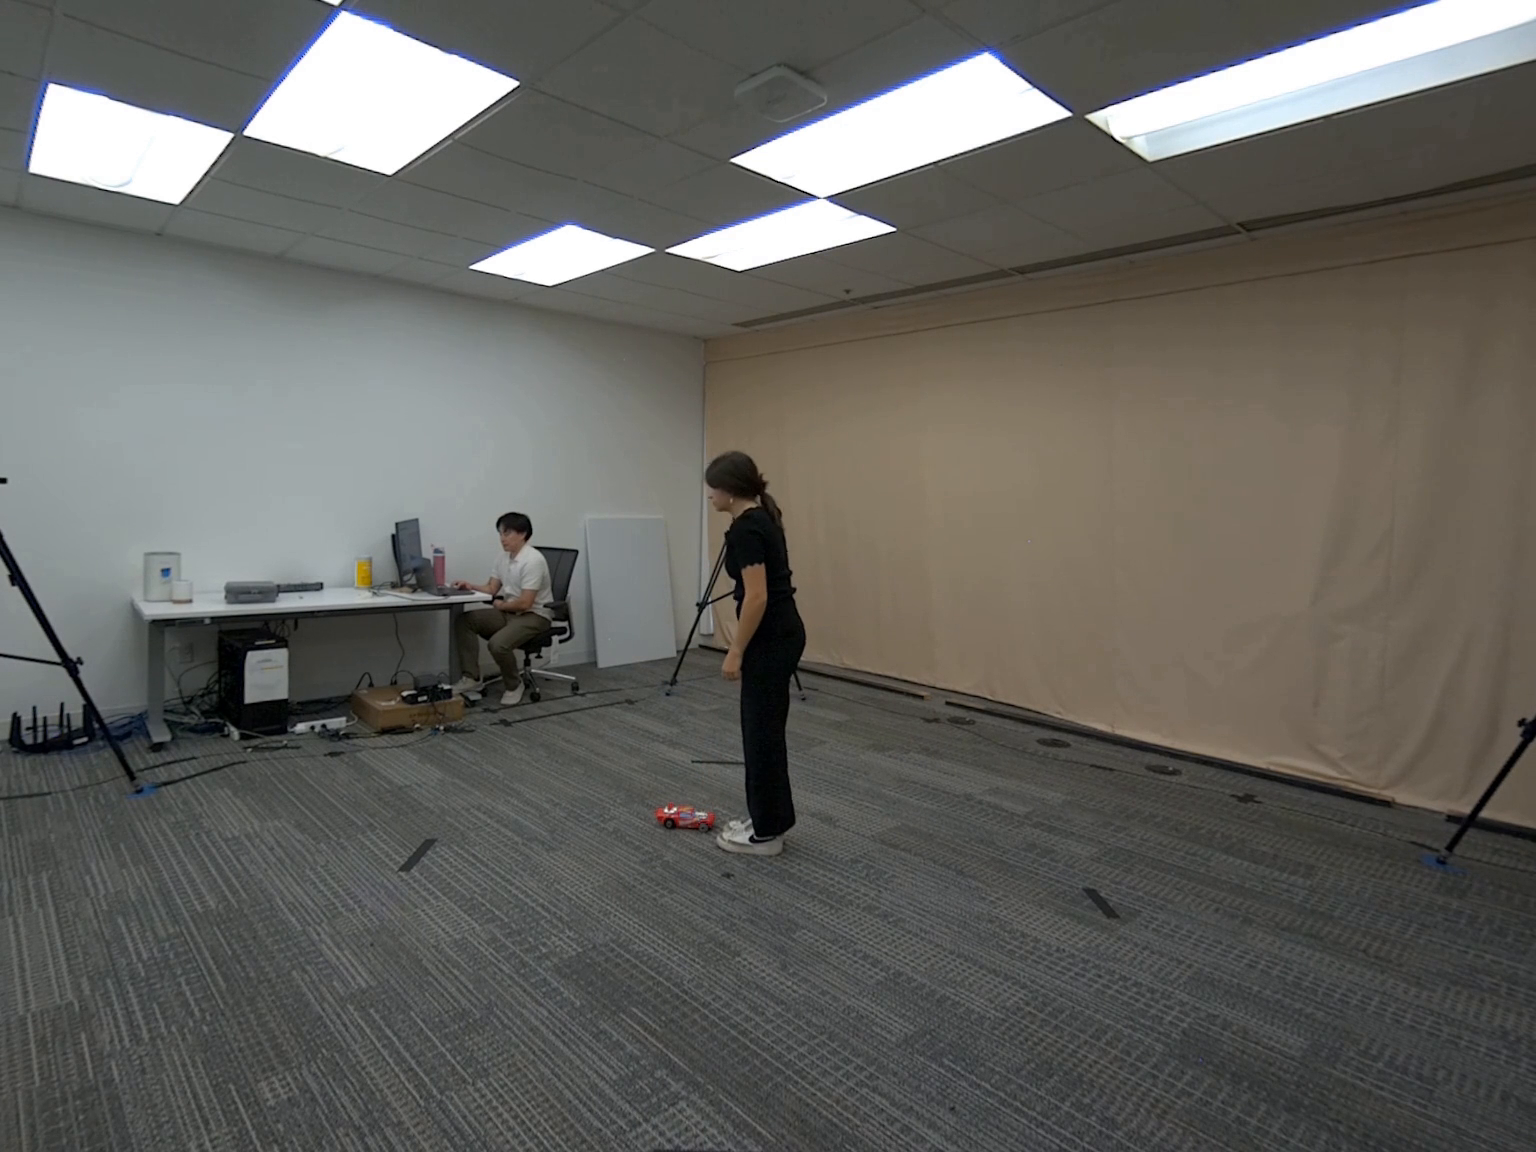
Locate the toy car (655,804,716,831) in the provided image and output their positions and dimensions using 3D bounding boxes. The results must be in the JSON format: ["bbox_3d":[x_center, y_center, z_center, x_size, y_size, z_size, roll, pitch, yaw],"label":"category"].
[{"bbox_3d":[-0.366,1.023,3.570,0.257,0.083,0.129,16,7,9],"label":"toy car"}]
